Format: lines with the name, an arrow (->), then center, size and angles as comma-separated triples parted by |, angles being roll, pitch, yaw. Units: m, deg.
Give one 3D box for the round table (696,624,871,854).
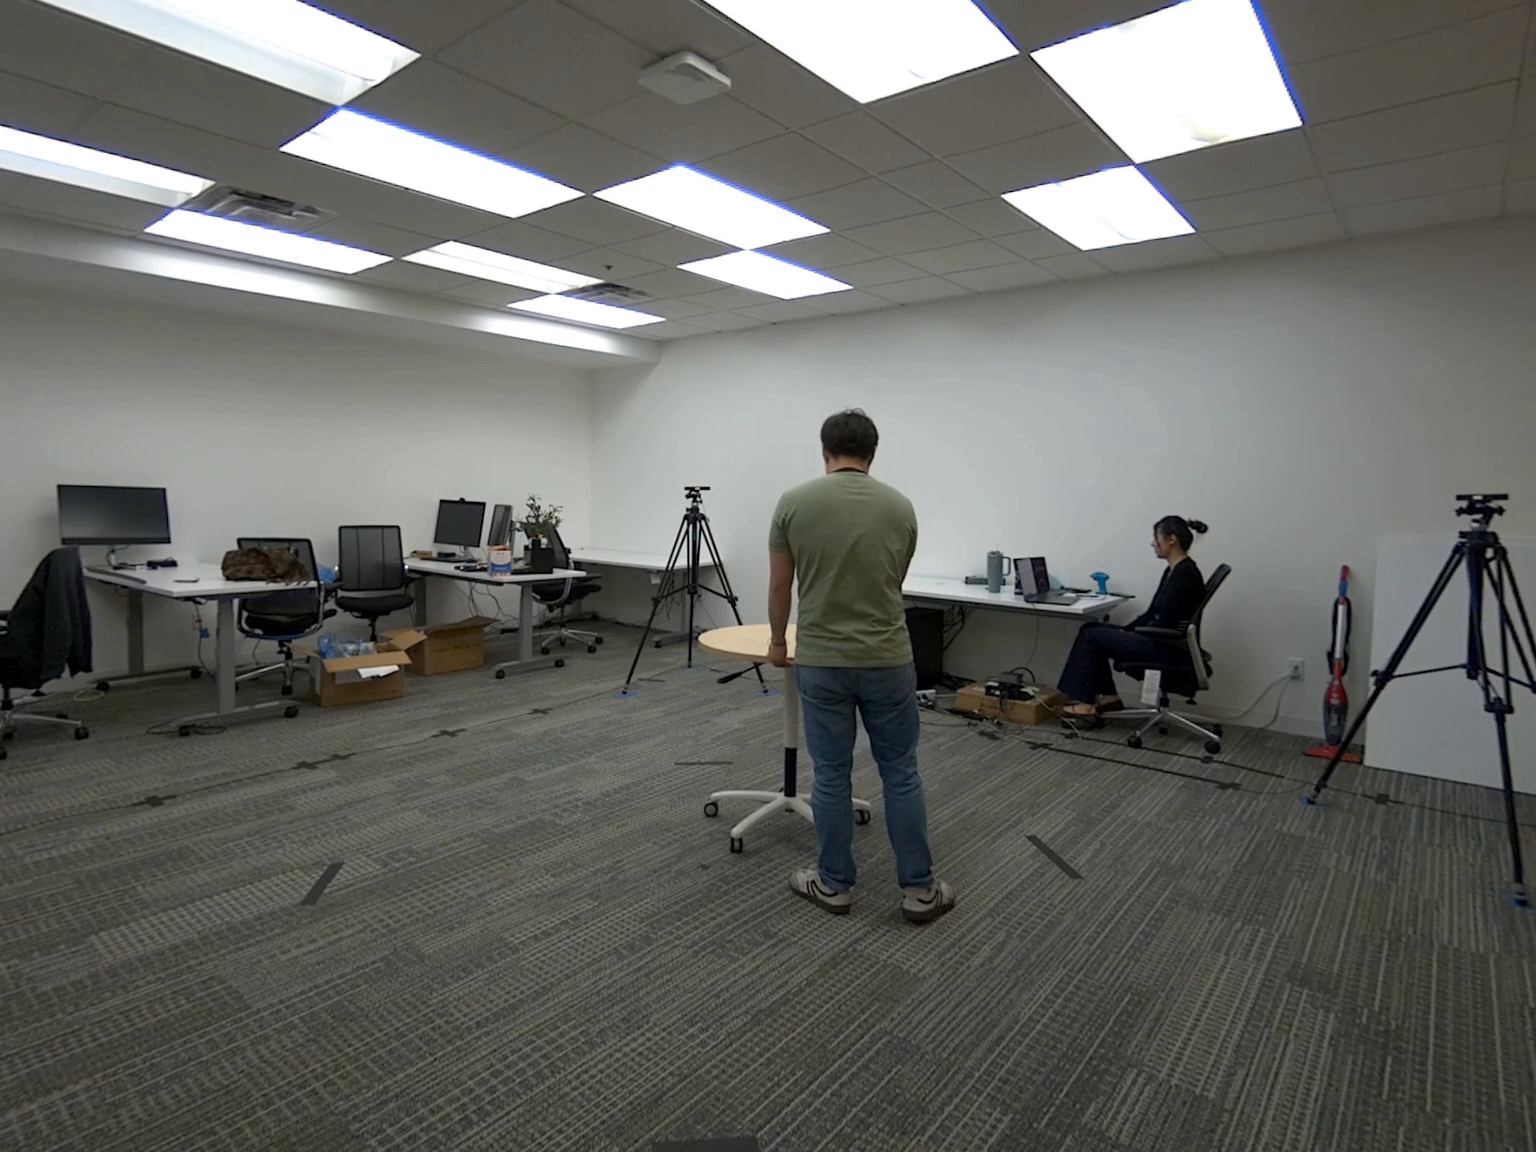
round table -> 0.081, 0.646, 3.473 | 0.763, 0.791, 0.768 | 1, 4, -2
